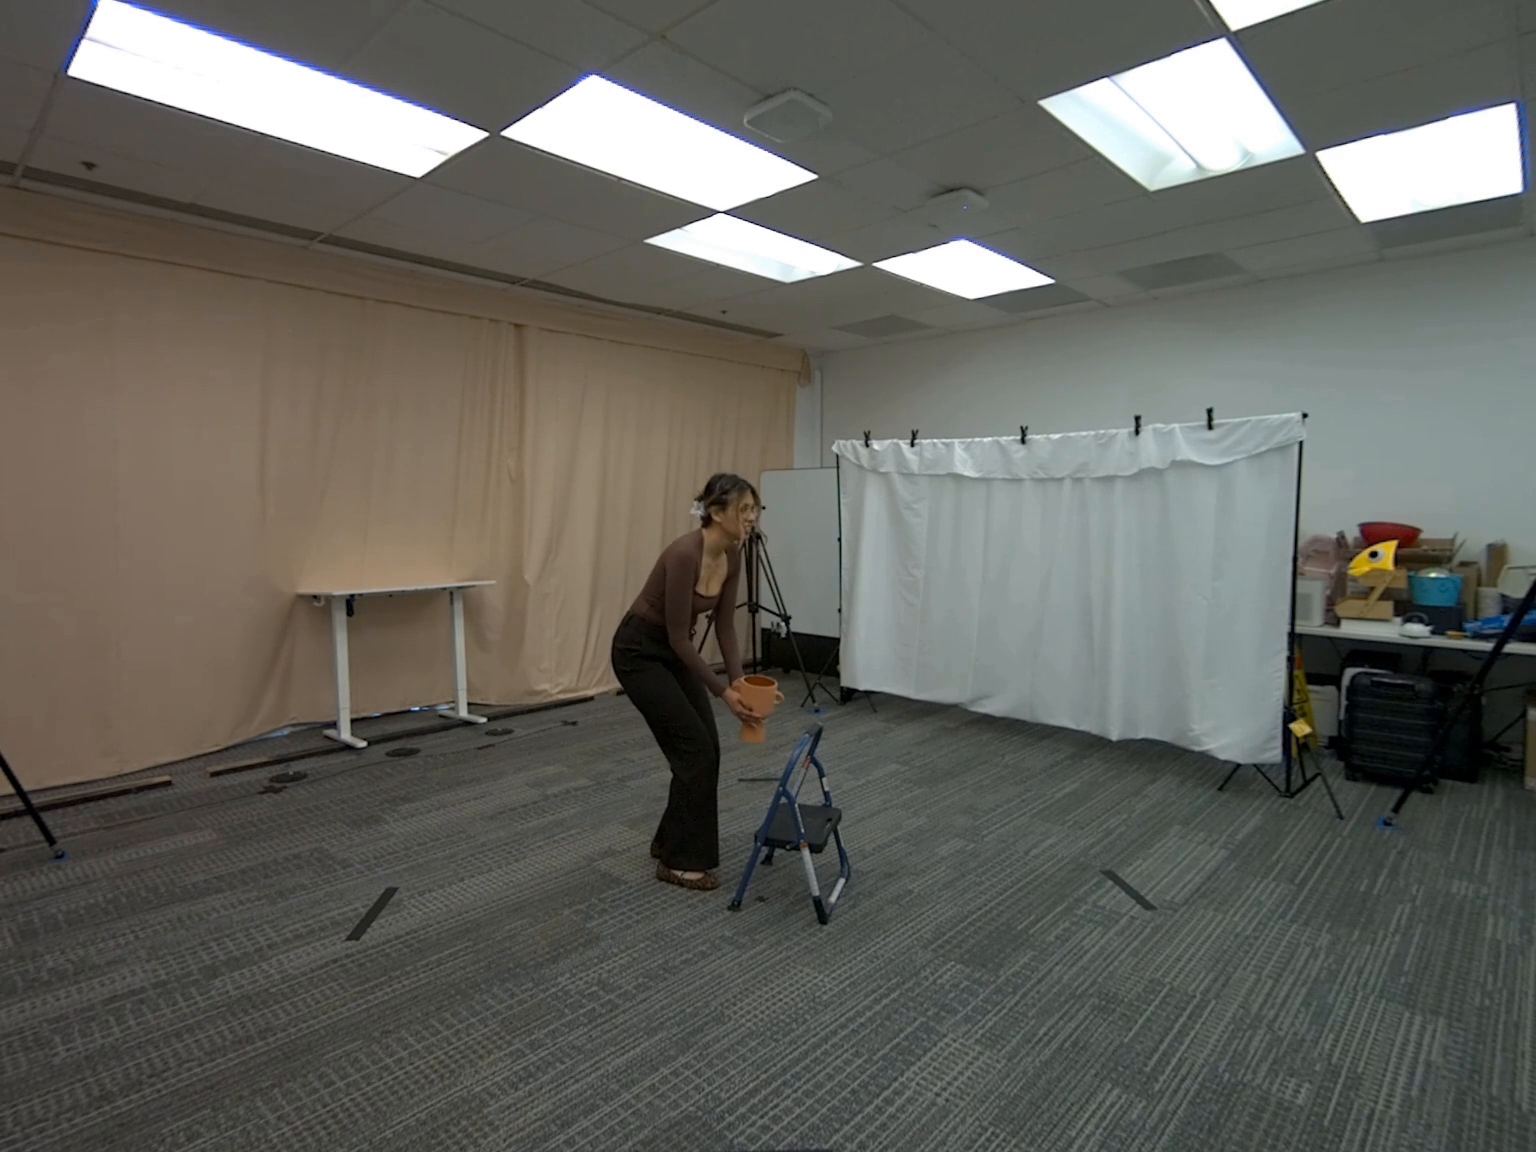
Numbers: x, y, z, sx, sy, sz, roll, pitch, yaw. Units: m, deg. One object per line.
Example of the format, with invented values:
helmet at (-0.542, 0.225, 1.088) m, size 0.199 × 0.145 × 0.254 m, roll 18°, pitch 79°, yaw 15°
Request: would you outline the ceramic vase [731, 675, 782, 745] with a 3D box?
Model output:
ceramic vase at (-0.042, 0.486, 3.034) m, size 0.130 × 0.219 × 0.164 m, roll -1°, pitch 12°, yaw -37°
